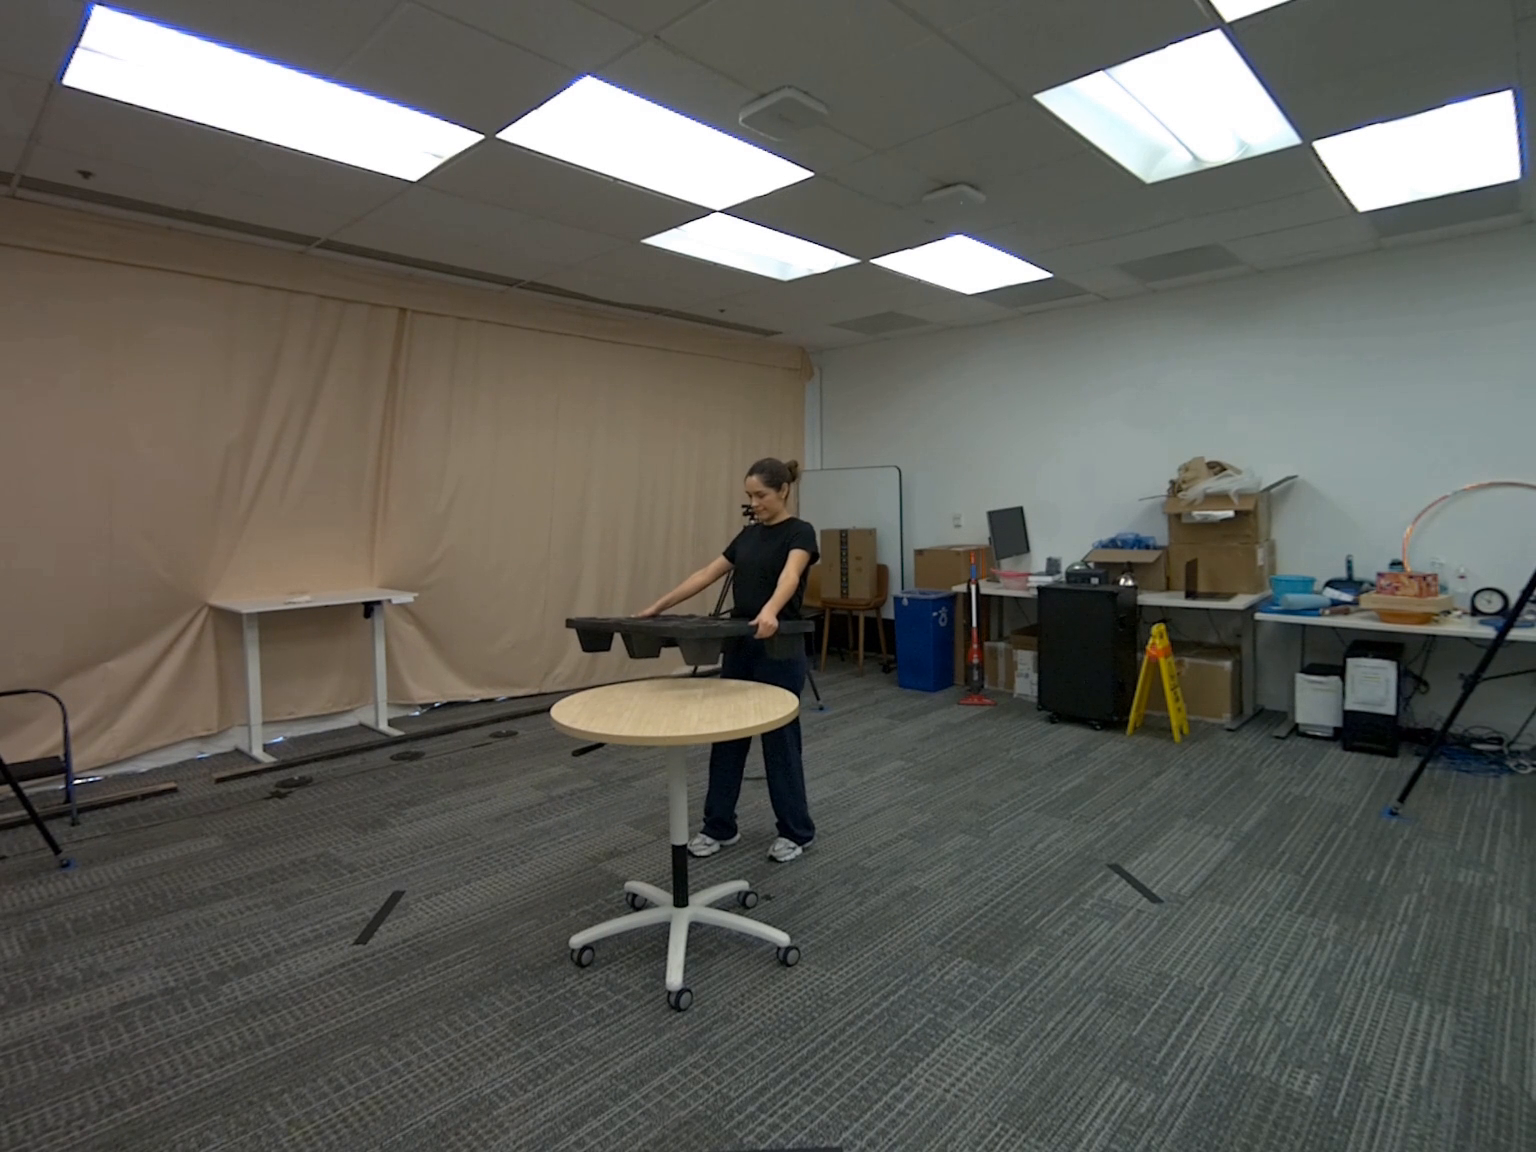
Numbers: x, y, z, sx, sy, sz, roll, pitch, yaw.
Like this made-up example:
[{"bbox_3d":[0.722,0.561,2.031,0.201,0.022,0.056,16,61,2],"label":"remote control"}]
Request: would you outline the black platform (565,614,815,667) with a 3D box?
[{"bbox_3d":[-0.310,0.233,3.185,0.586,0.143,0.831,1,-1,-40],"label":"black platform"}]
